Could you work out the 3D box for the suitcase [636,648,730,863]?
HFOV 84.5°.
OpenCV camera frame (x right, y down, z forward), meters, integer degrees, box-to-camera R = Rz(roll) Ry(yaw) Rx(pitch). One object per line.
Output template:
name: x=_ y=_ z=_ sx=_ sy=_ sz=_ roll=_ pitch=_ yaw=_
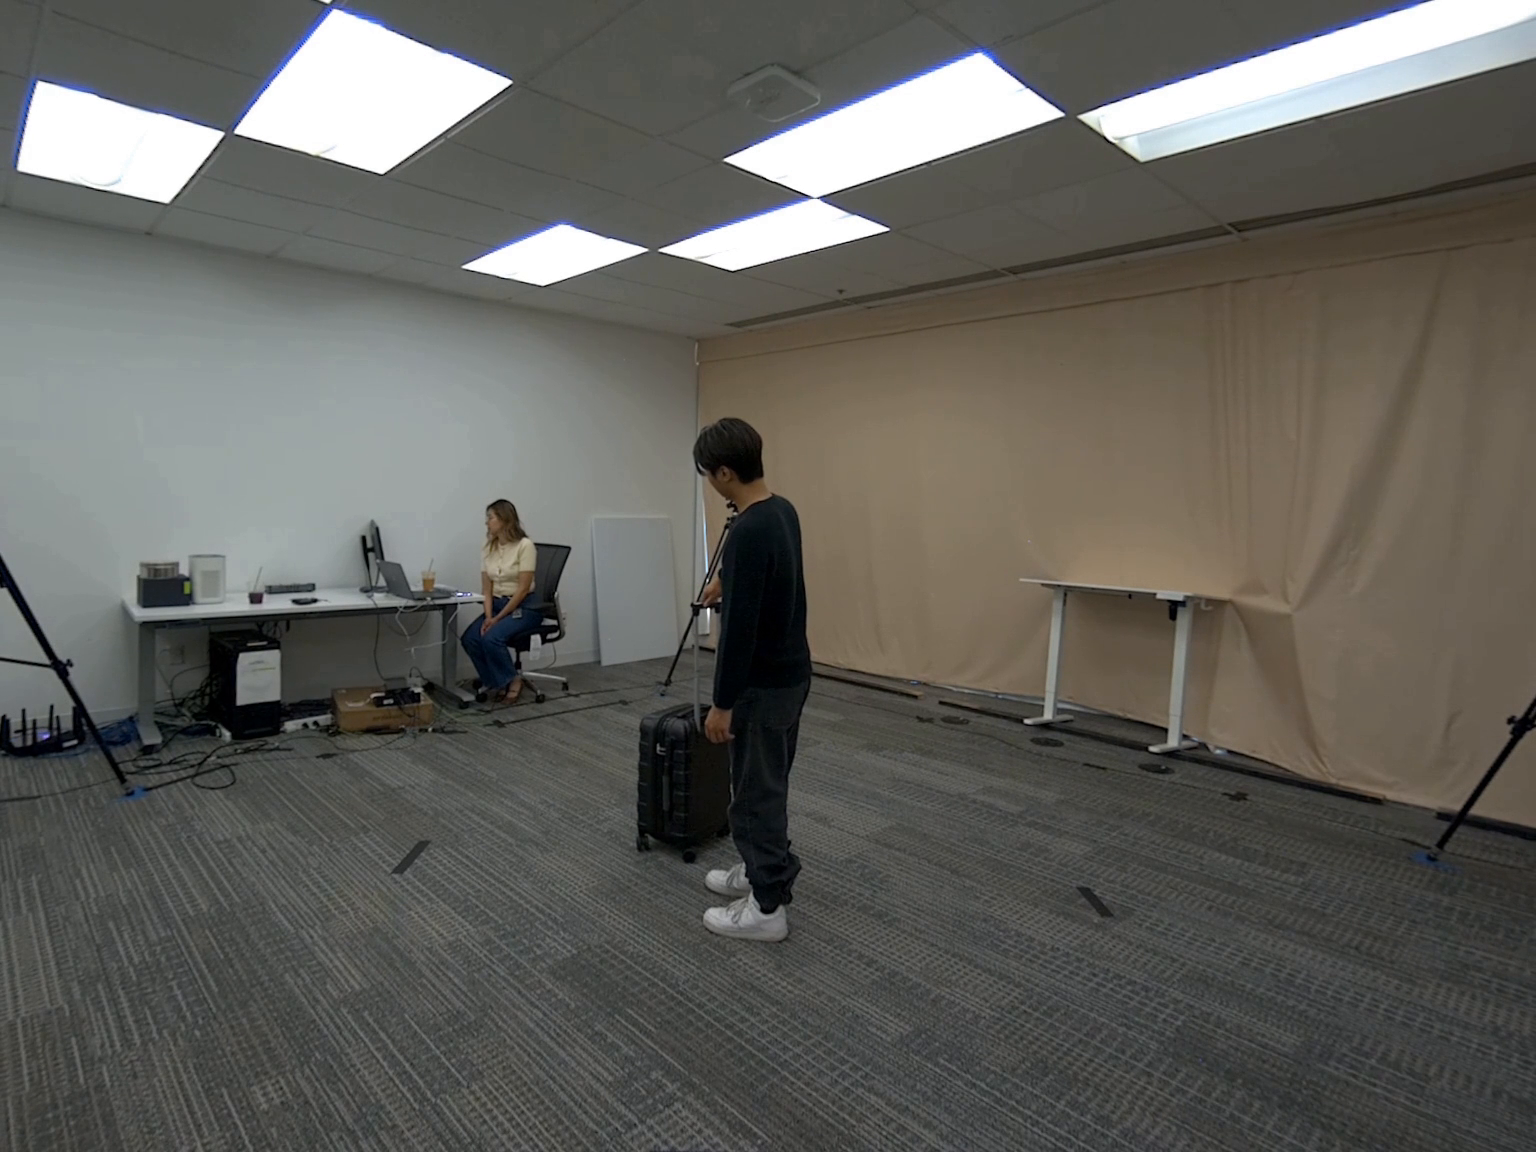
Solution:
suitcase: x=-0.348 y=0.603 z=3.387 sx=0.262 sy=0.977 sz=0.376 roll=0 pitch=2 yaw=31
